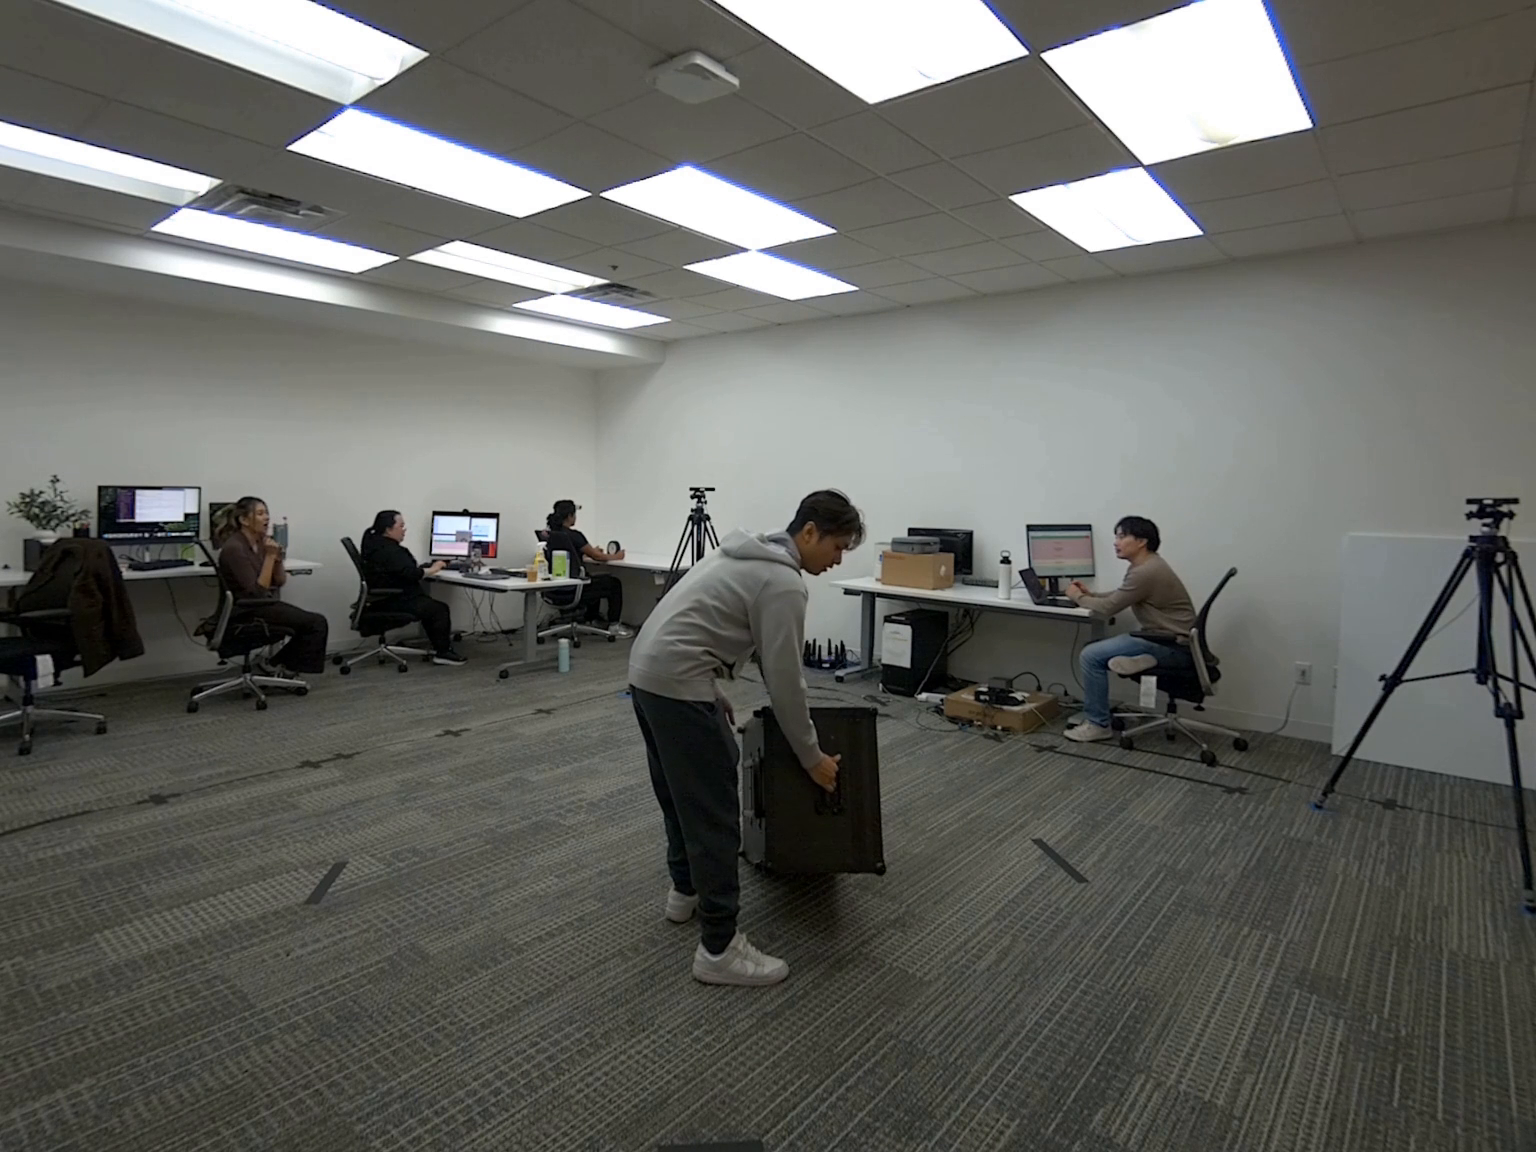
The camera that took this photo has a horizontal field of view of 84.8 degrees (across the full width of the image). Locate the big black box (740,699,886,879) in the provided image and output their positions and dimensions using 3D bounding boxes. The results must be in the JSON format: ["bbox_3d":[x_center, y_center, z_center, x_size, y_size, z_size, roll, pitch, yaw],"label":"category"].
[{"bbox_3d":[0.093,0.738,2.960,0.395,0.529,0.851,1,-16,-4],"label":"big black box"}]
